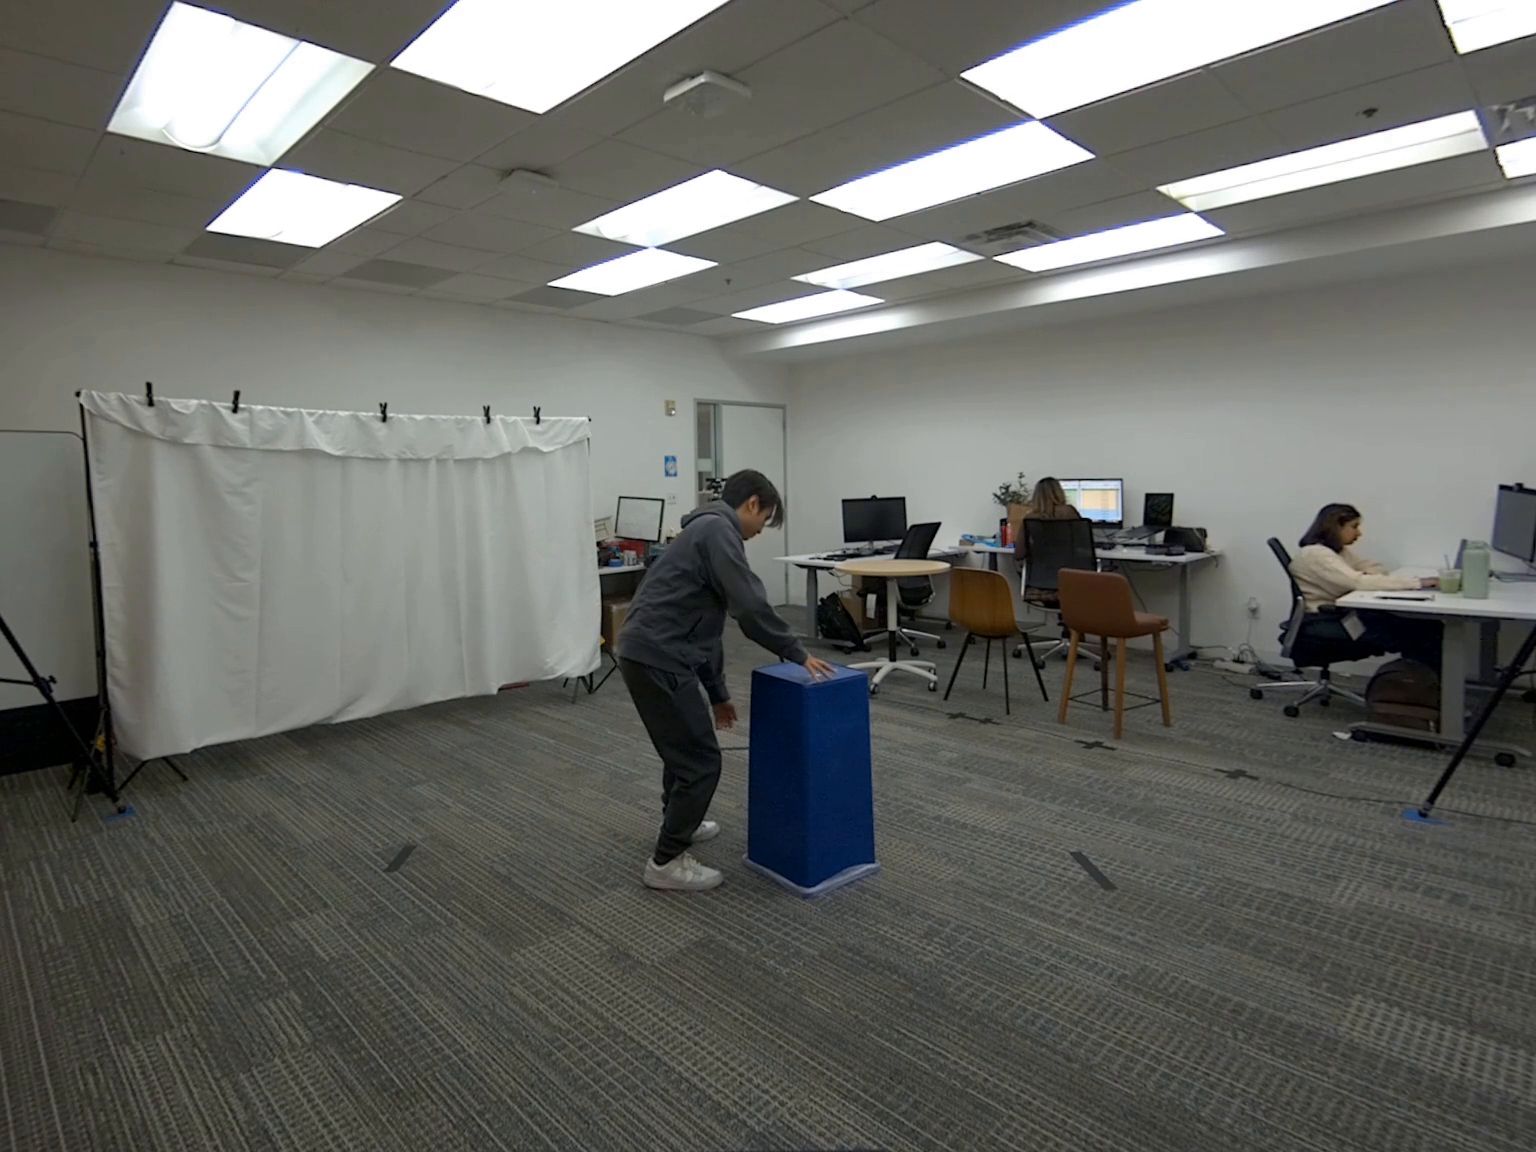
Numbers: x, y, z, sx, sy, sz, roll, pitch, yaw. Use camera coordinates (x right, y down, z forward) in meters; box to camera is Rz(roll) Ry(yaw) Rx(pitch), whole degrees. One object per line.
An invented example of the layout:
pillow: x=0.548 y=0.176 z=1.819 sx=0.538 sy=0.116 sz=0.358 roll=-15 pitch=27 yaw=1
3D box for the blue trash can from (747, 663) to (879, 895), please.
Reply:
blue trash can: x=0.155 y=0.694 z=3.052 sx=0.368 sy=0.711 sz=0.385 roll=-3 pitch=6 yaw=-38
